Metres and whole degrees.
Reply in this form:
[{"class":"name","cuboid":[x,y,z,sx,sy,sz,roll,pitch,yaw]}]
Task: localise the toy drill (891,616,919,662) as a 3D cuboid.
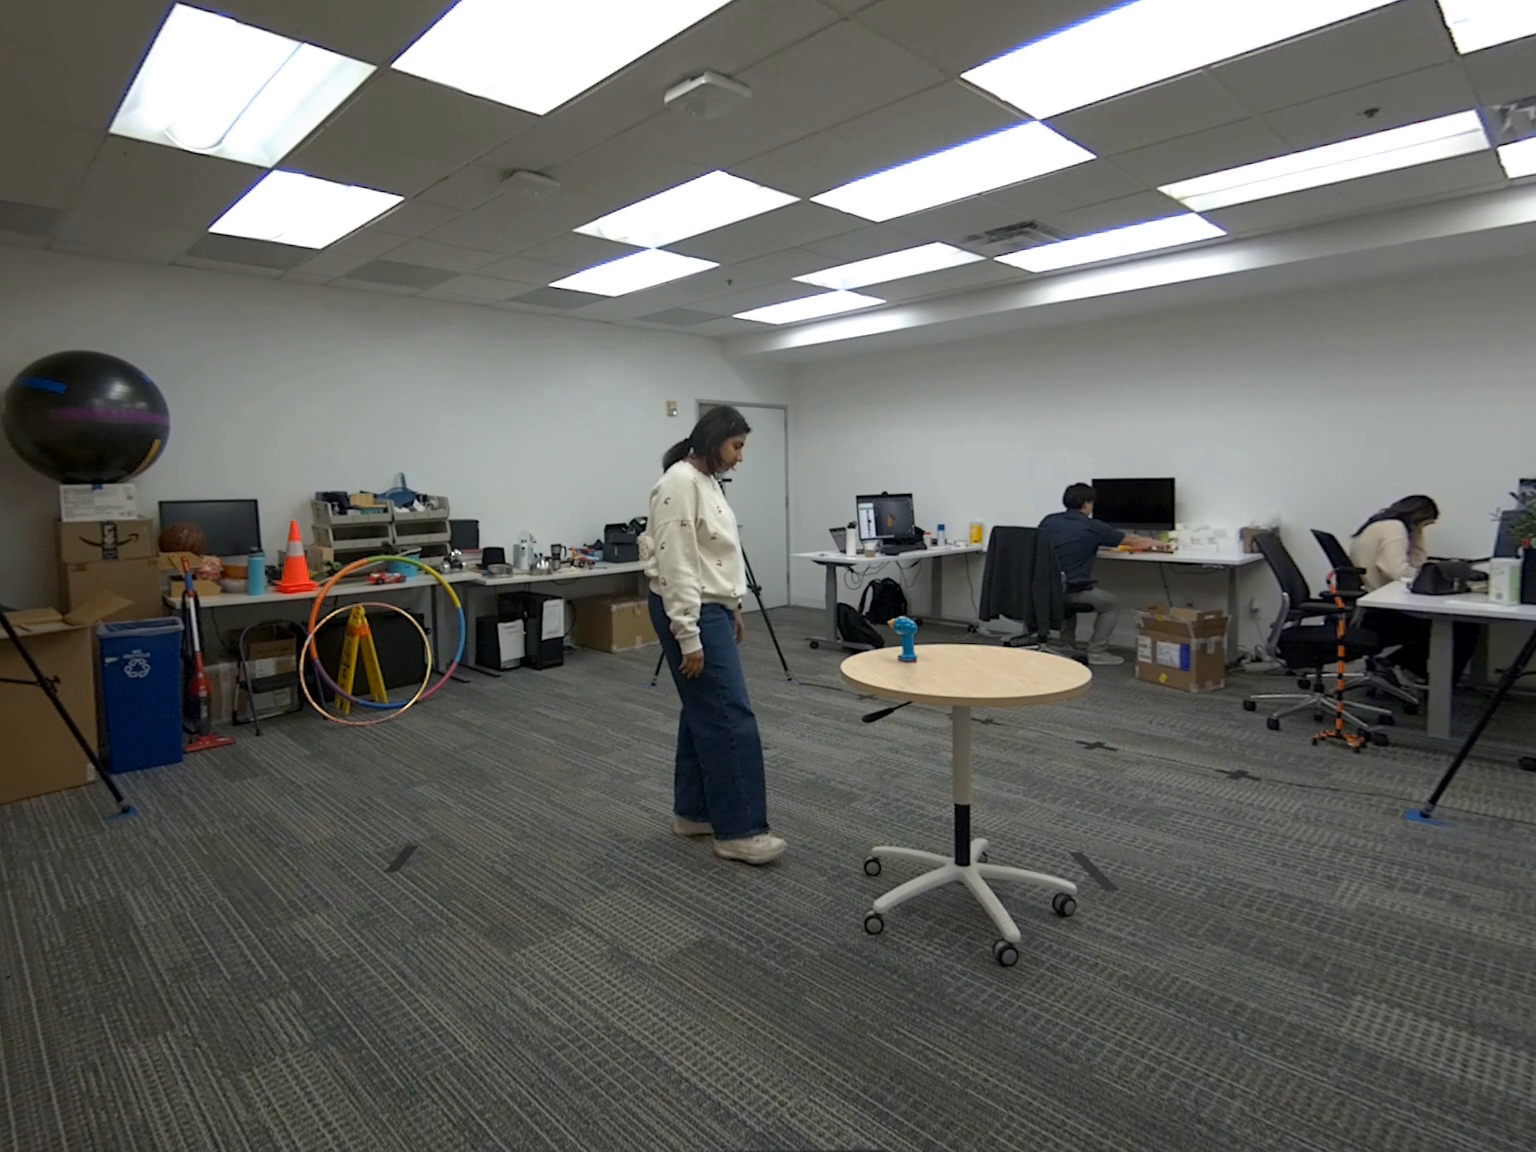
[{"class":"toy drill","cuboid":[0.462,0.207,2.881,0.060,0.145,0.173,-3,5,-17]}]
